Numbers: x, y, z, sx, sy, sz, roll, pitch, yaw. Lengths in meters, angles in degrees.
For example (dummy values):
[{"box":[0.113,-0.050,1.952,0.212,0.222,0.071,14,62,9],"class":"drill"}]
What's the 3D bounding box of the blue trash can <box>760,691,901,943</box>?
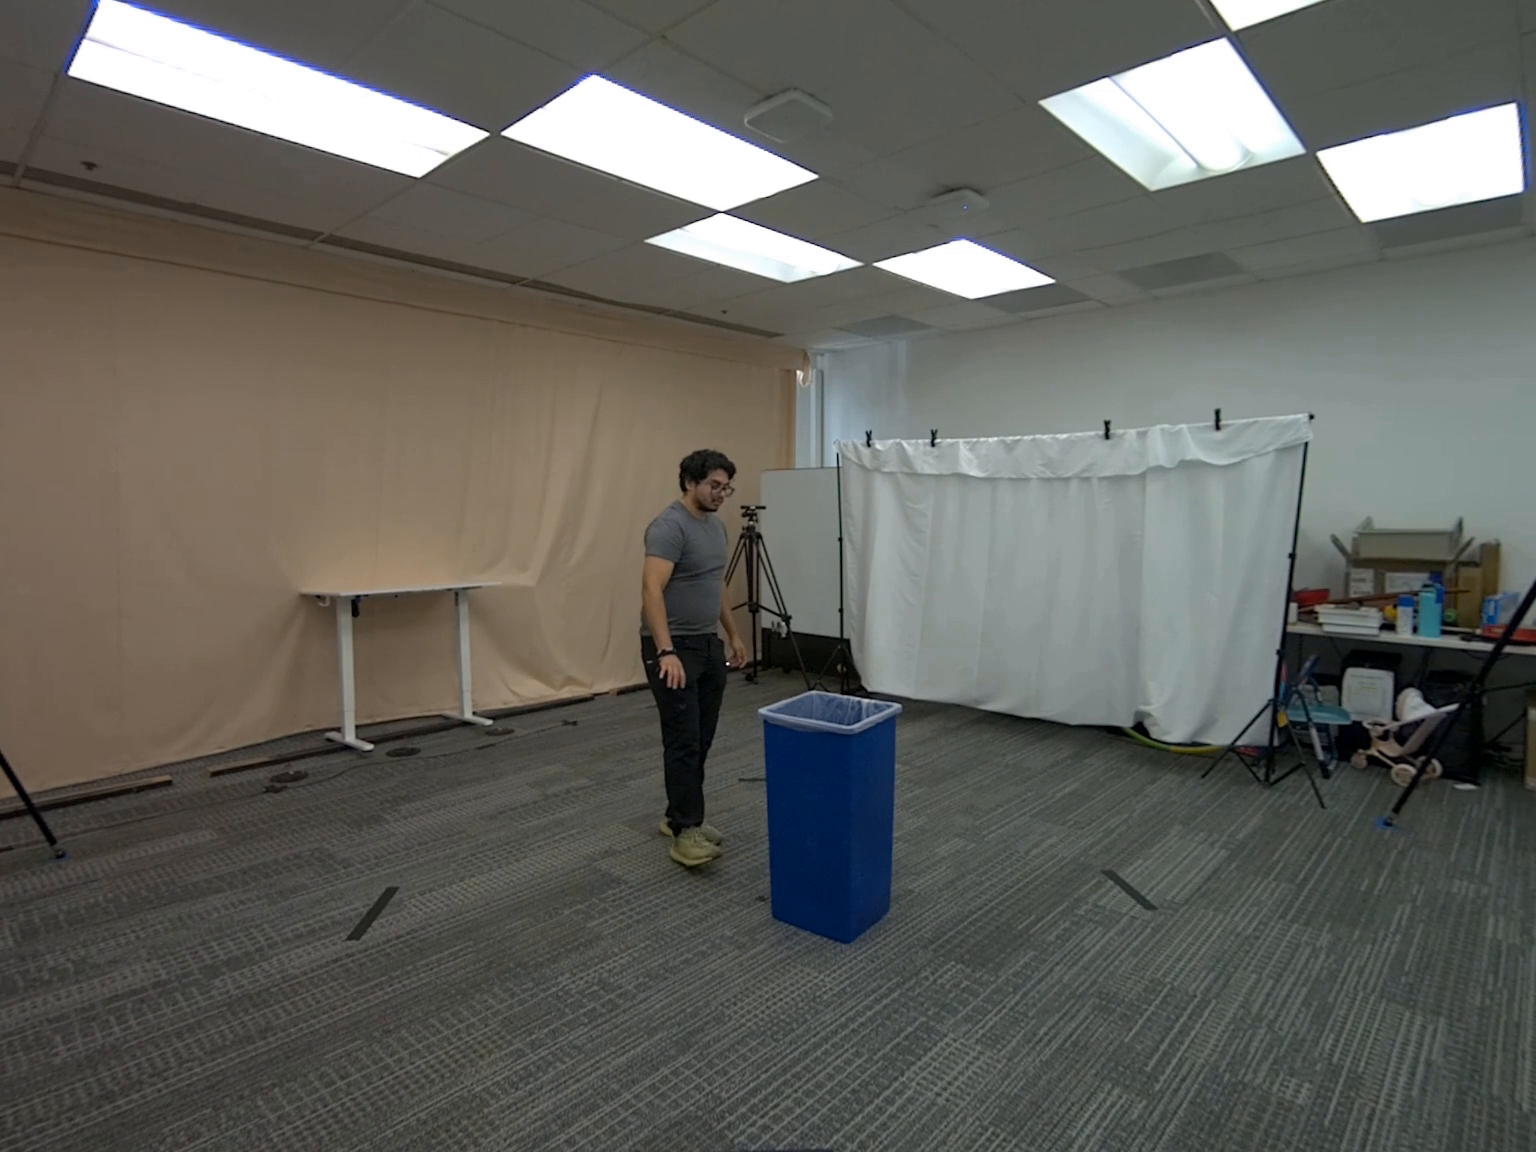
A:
[{"box":[0.215,0.797,2.845,0.390,0.712,0.363,2,4,37],"class":"blue trash can"}]
